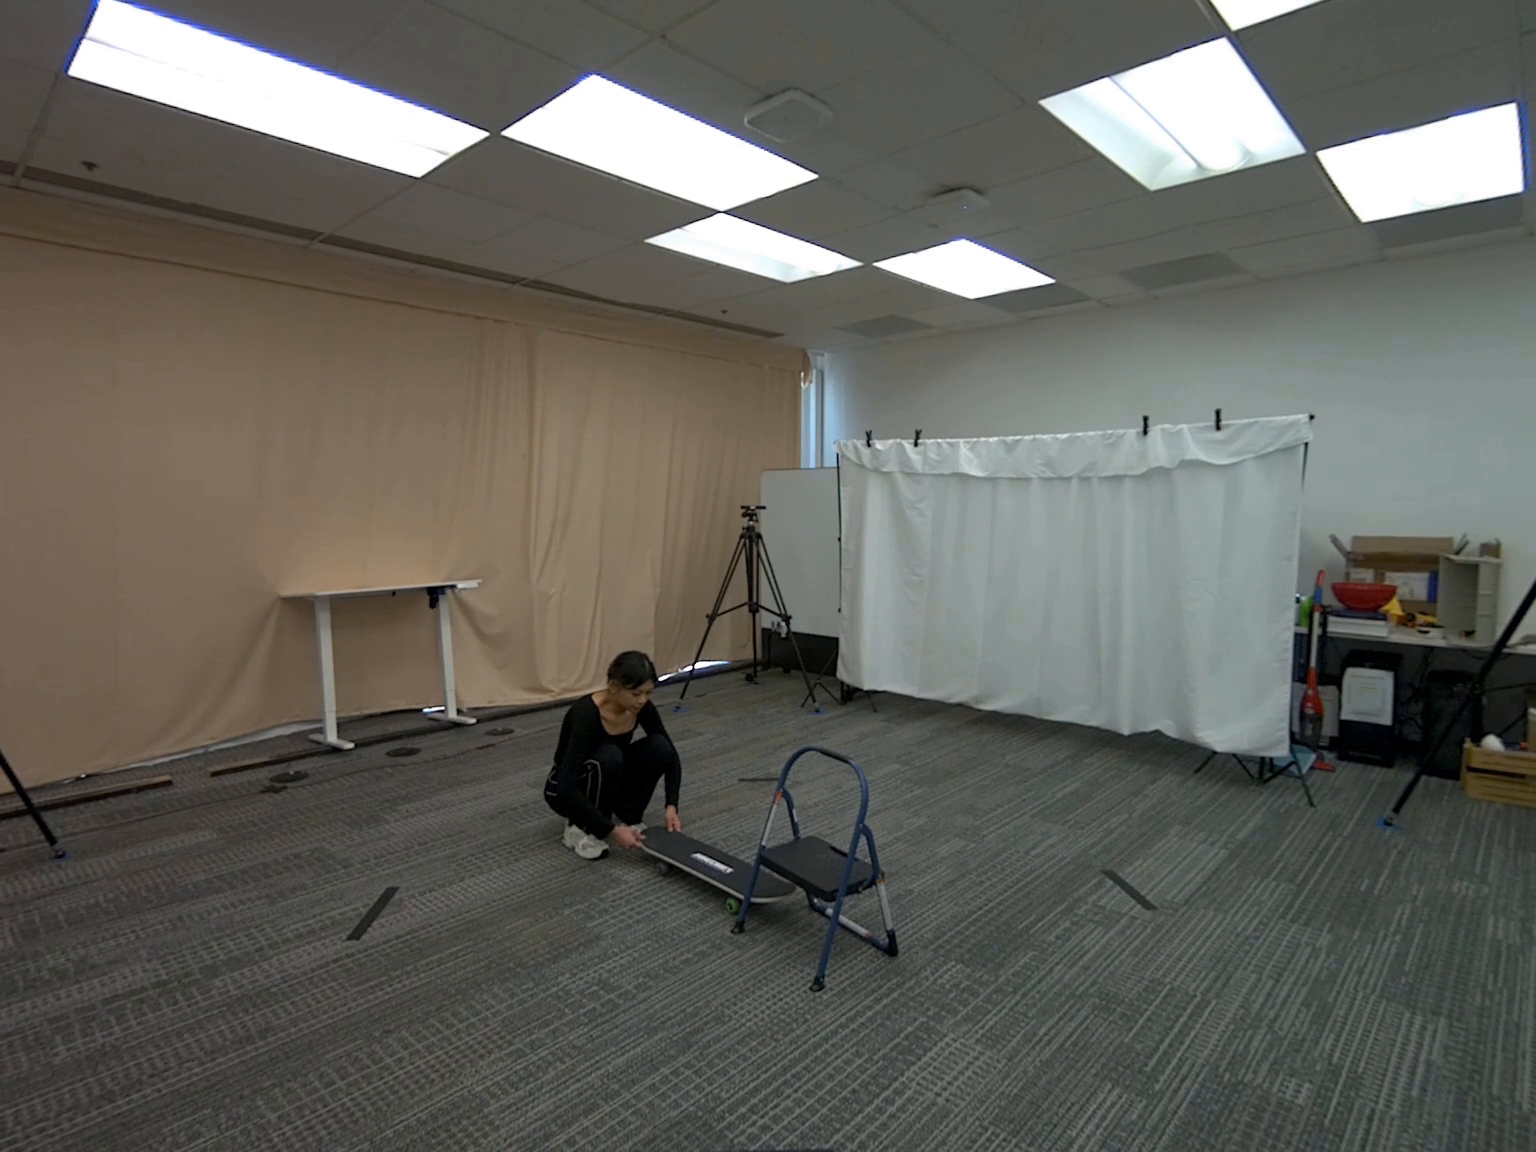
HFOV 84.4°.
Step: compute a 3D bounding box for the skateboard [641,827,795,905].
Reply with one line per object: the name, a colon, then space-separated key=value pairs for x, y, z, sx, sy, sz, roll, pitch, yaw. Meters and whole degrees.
skateboard: x=-0.199 y=1.077 z=3.077 sx=0.187 sy=0.110 sz=0.812 roll=-4 pitch=6 yaw=-43
